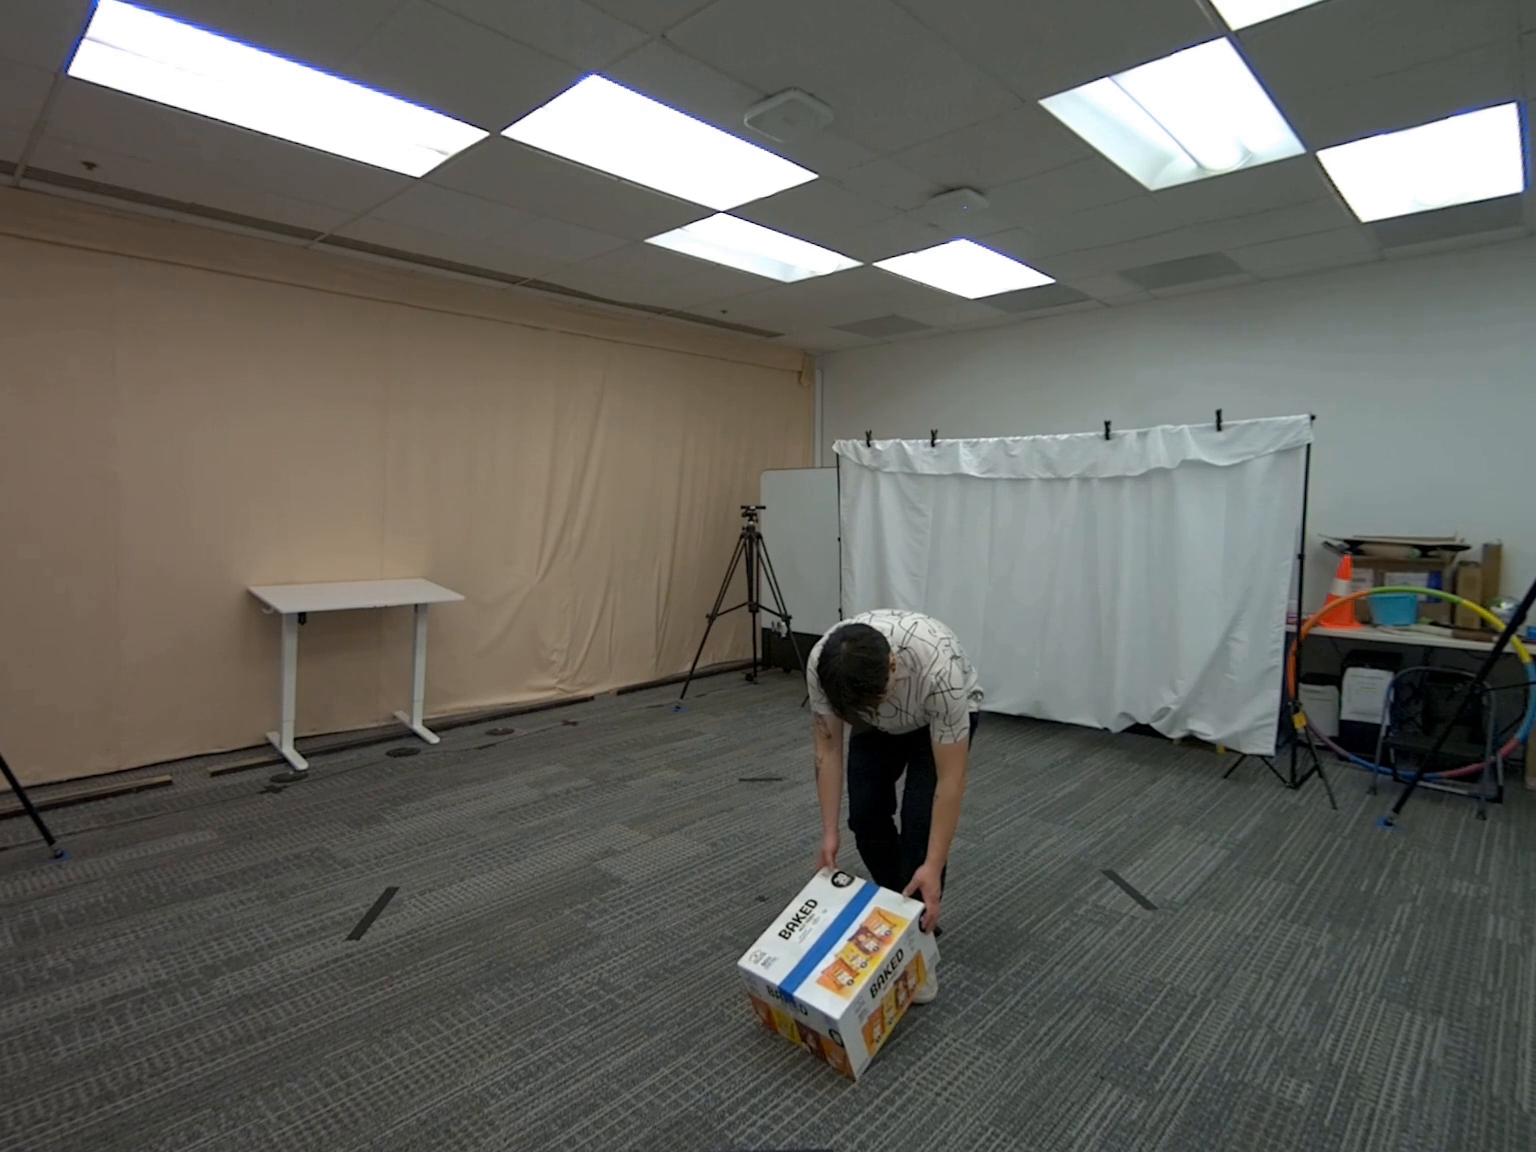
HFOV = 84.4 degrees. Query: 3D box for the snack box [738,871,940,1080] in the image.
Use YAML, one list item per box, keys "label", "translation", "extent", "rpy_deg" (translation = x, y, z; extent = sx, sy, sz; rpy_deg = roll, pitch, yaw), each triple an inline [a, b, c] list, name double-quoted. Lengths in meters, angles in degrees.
- label: "snack box"
  translation: [0.197, 1.035, 2.243]
  extent: [0.352, 0.202, 0.399]
  rpy_deg: [4, 30, 45]
